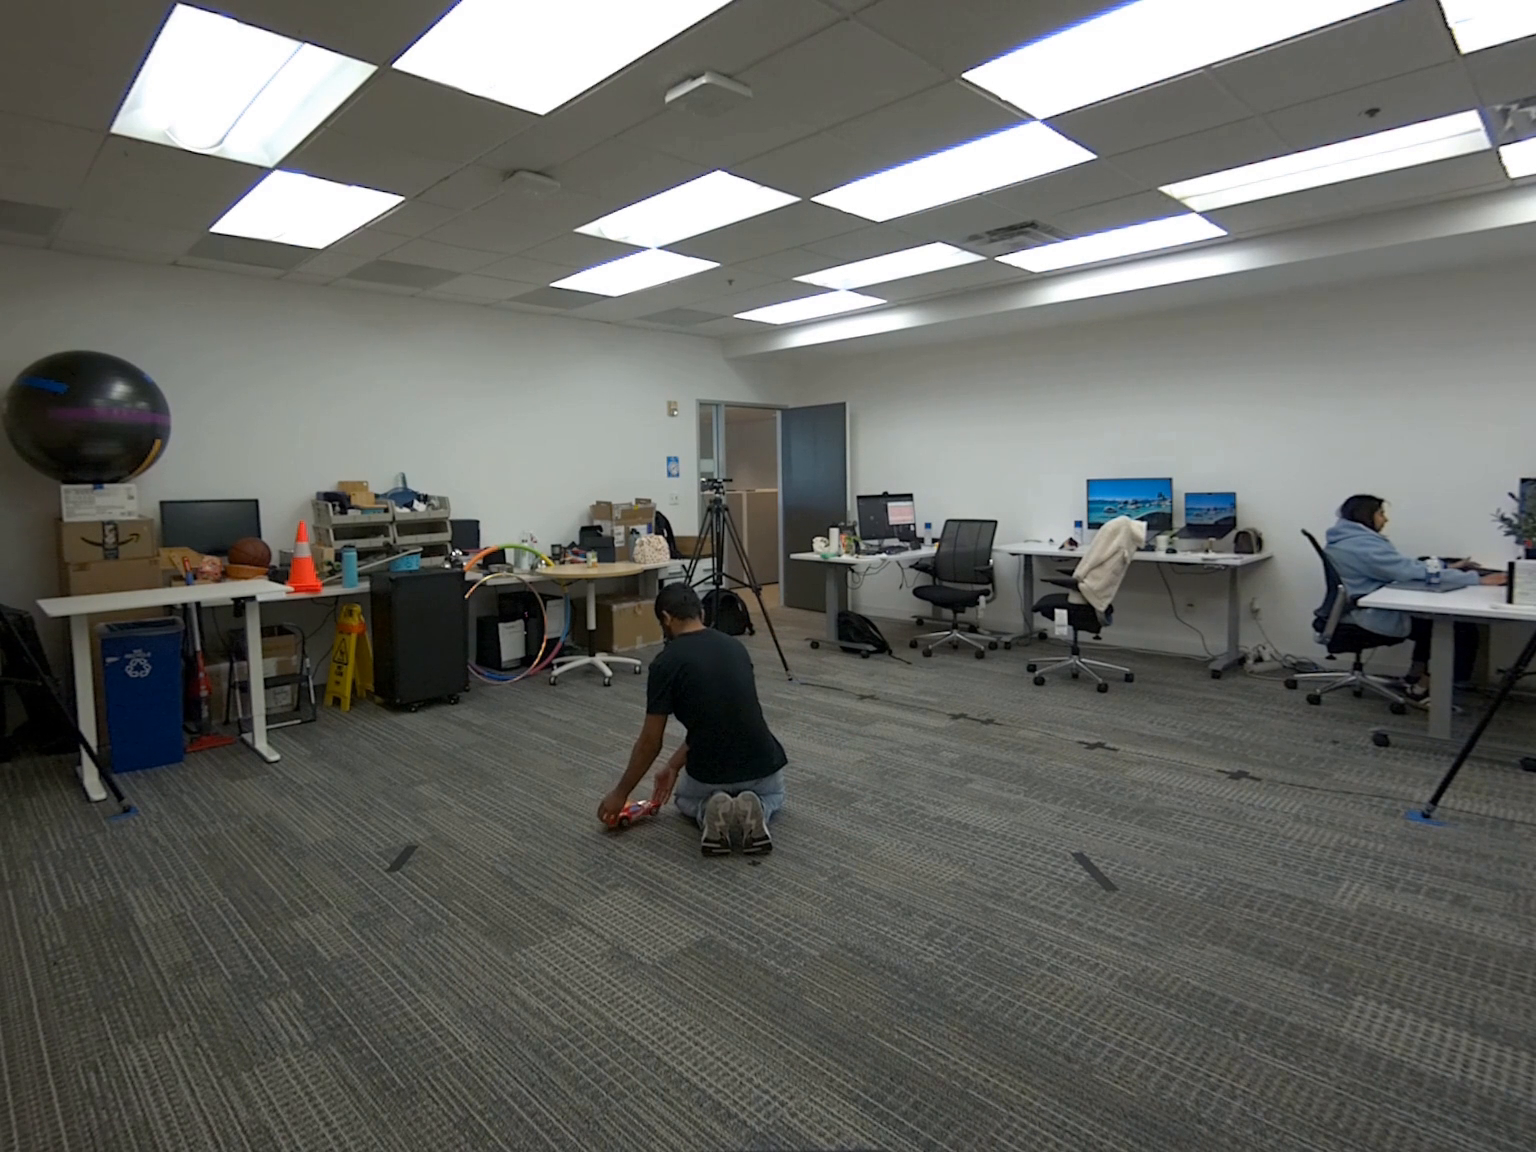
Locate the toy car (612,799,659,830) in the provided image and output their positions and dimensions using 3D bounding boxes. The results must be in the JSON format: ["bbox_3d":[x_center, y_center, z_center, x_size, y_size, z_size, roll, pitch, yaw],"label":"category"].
[{"bbox_3d":[-0.568,0.964,3.482,0.247,0.083,0.134,3,-3,-36],"label":"toy car"}]
